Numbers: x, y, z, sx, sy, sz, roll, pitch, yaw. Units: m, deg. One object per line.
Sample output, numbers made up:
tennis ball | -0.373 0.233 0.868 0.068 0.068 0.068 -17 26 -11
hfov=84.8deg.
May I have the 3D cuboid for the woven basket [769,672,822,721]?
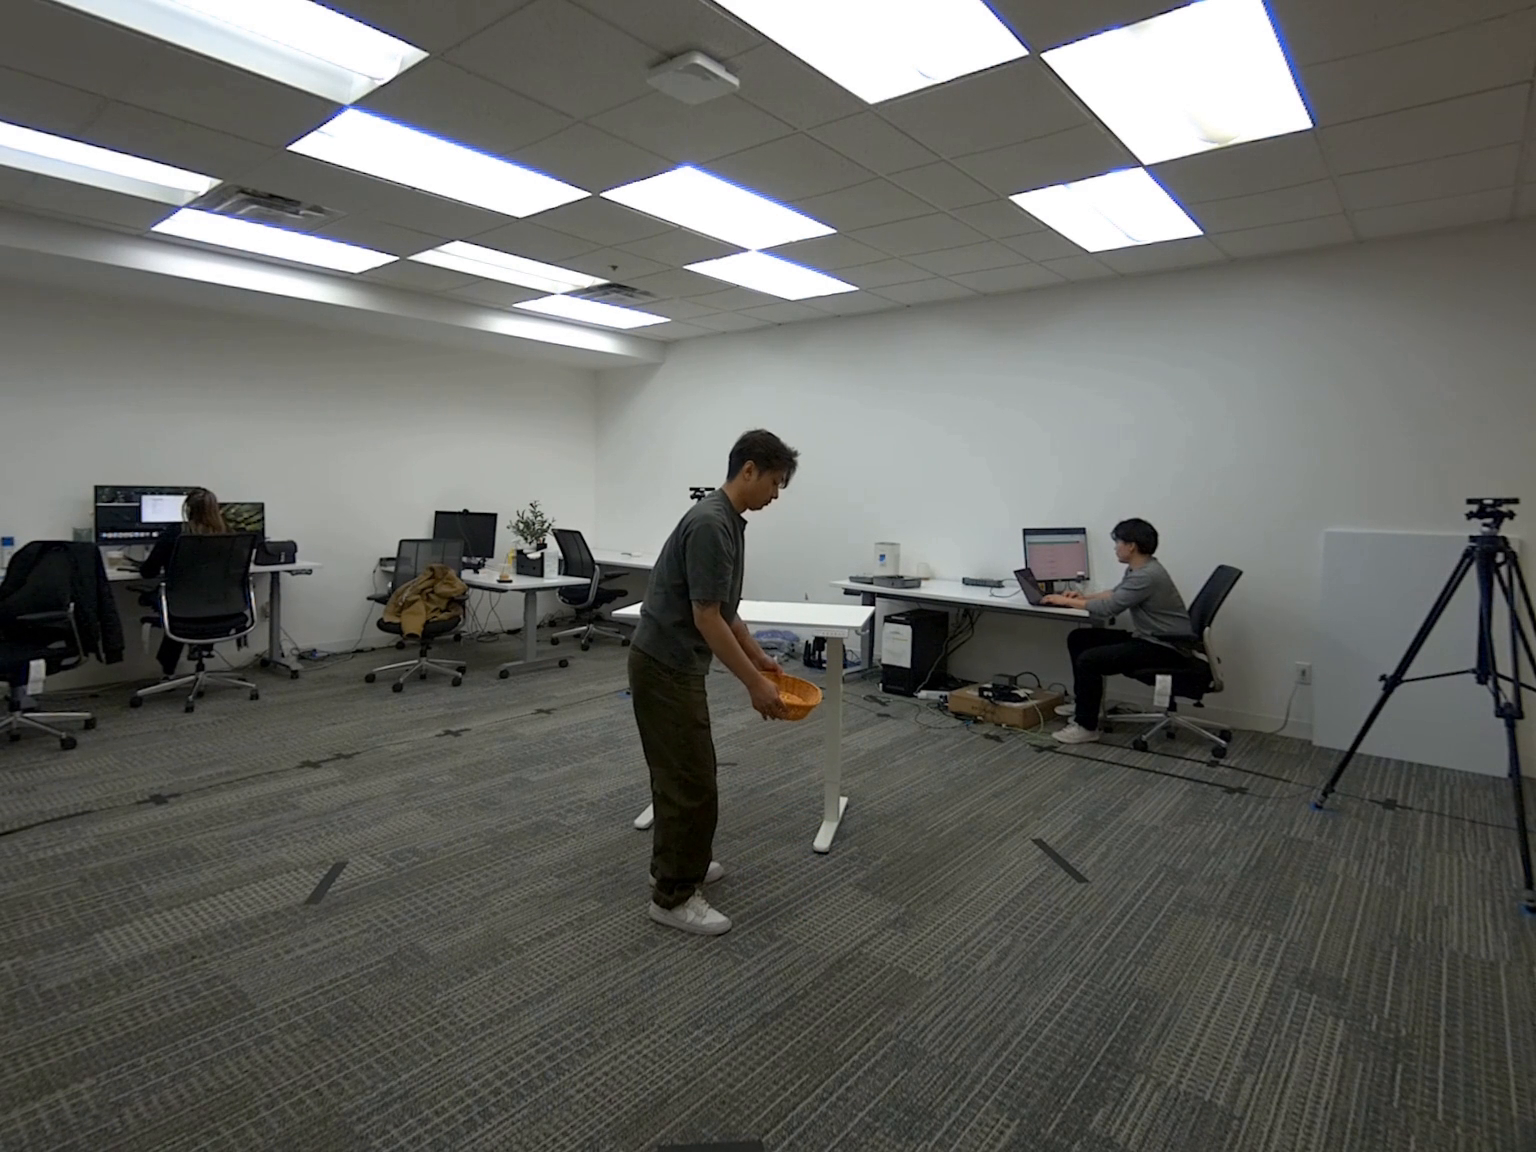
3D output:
woven basket | 0.034 0.401 2.806 0.256 0.073 0.348 12 8 8
